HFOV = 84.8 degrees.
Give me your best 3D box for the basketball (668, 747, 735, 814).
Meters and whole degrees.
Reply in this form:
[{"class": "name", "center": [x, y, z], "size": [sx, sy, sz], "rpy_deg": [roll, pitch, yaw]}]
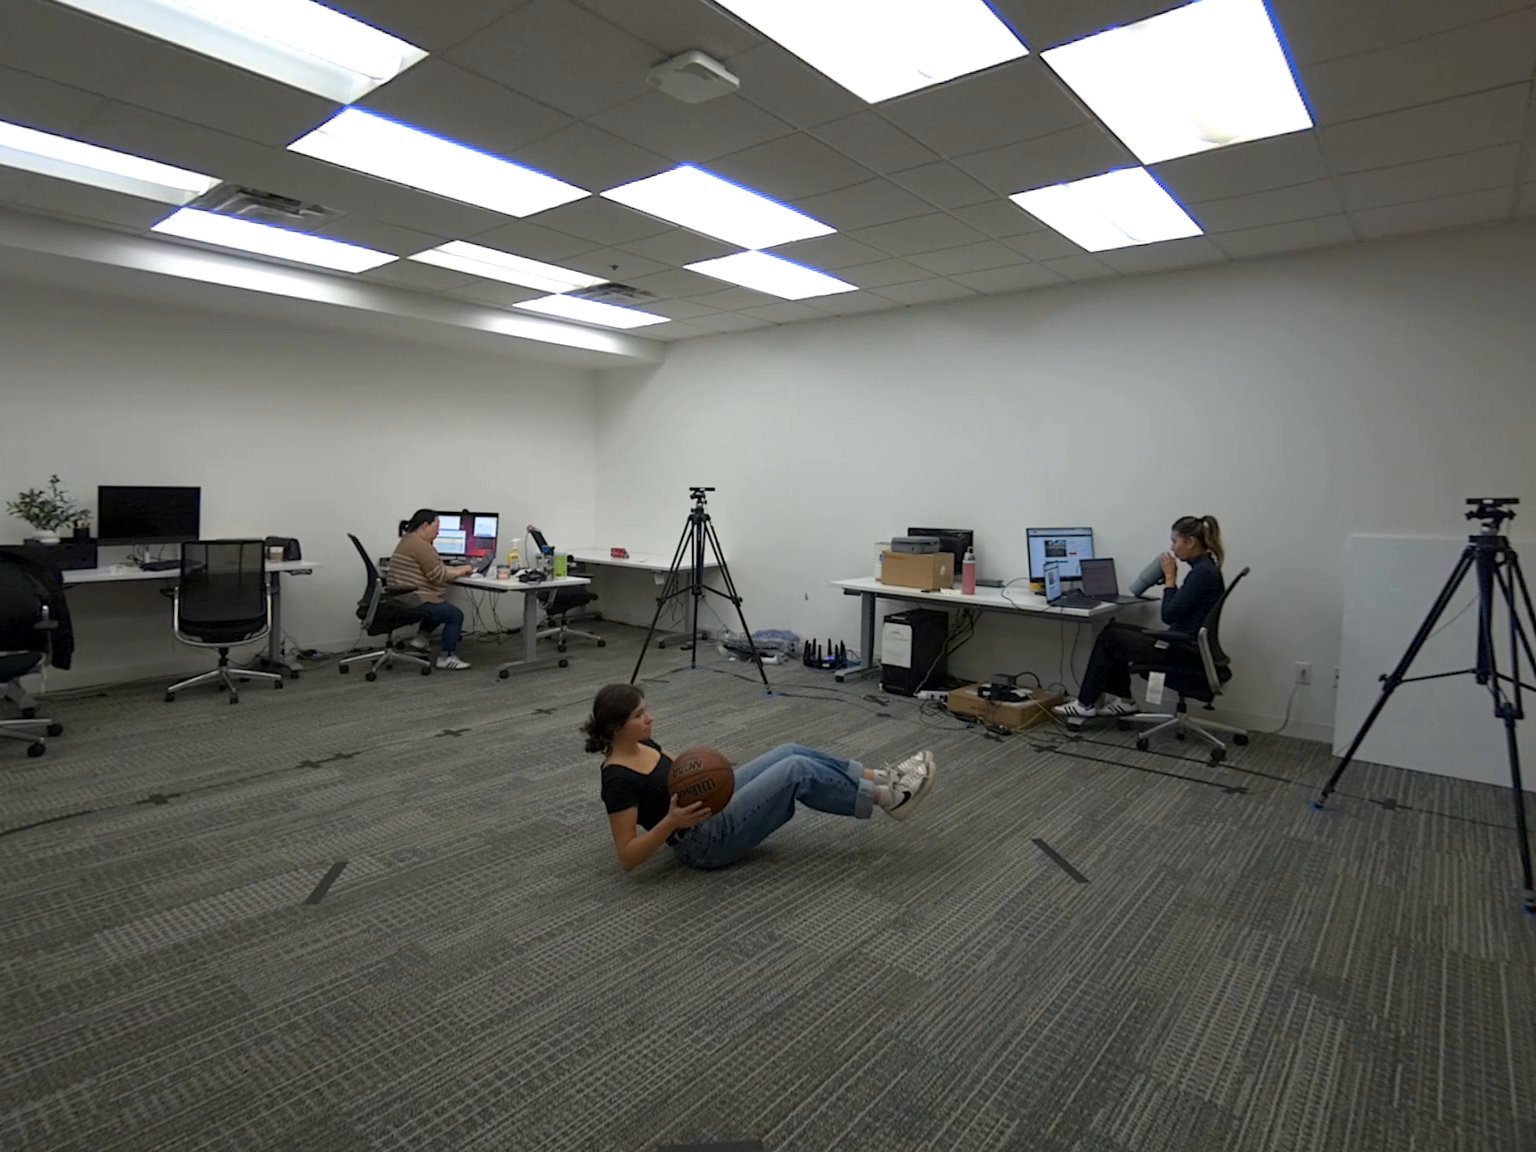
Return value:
[{"class": "basketball", "center": [-0.244, 0.726, 2.989], "size": [0.235, 0.235, 0.237], "rpy_deg": [1, 4, -2]}]
